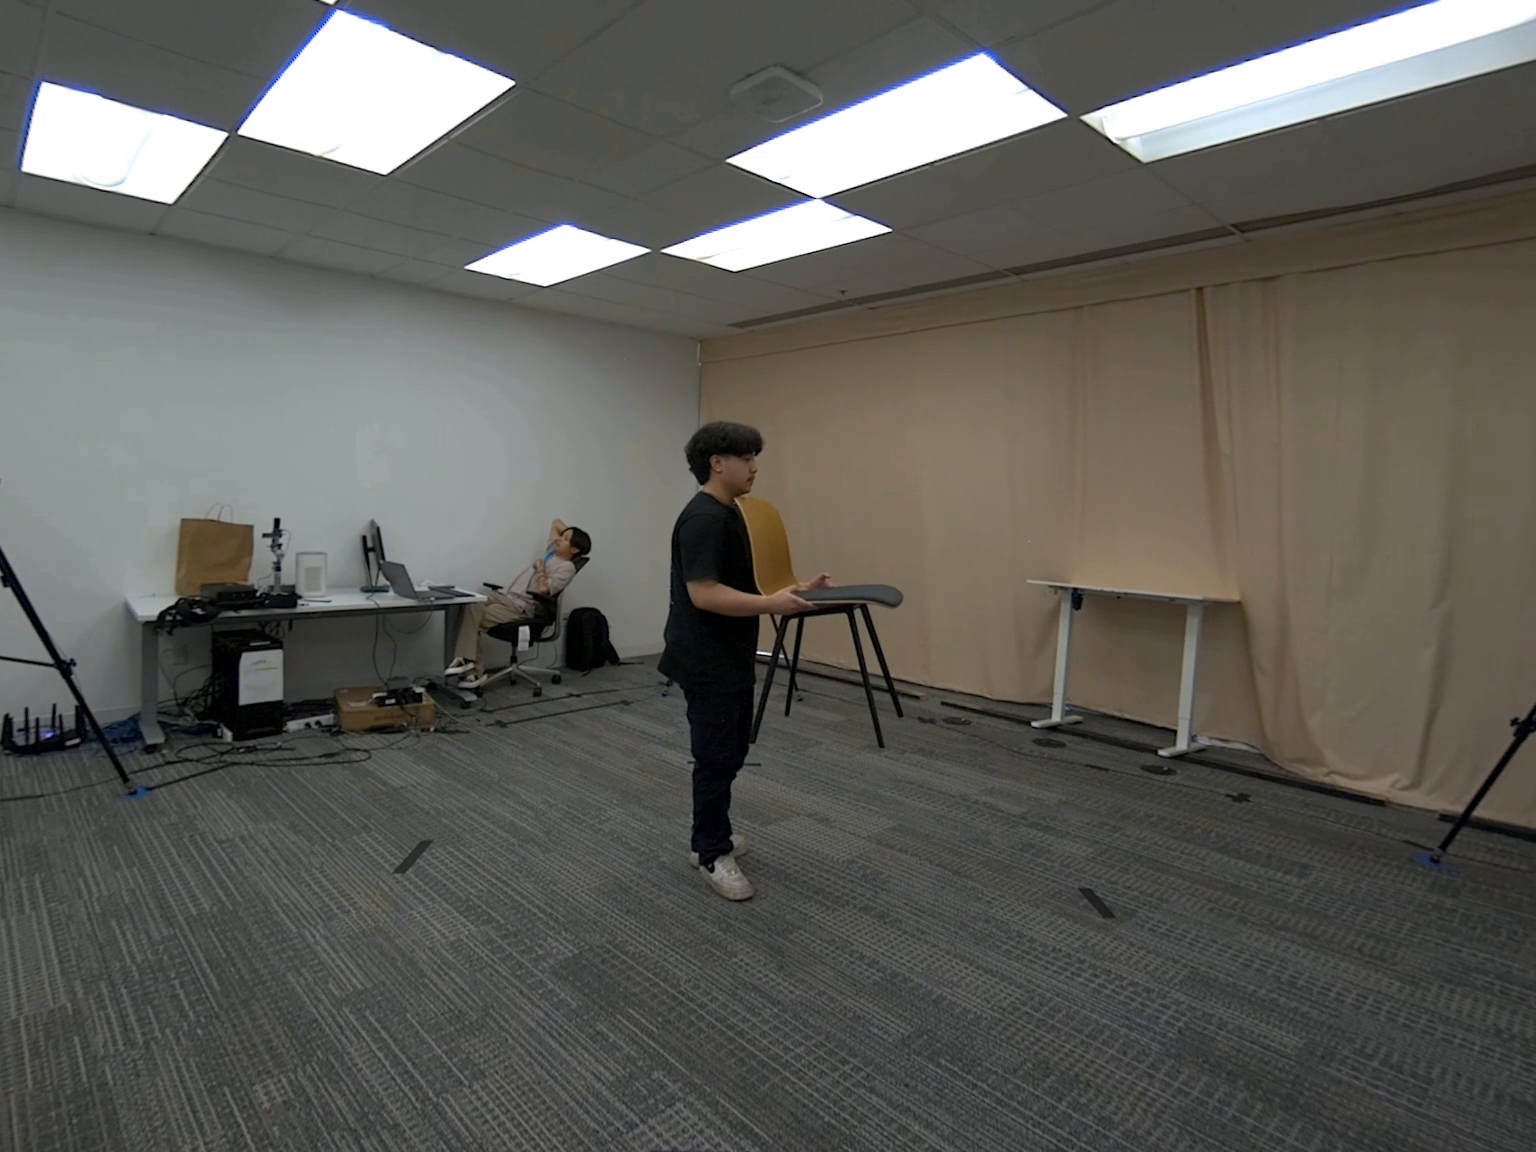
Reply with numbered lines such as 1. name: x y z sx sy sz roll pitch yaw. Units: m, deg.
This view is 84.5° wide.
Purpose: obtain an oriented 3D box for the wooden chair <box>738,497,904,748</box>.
1. wooden chair: 0.190 0.126 2.953 0.530 0.878 0.471 -7 -1 18
